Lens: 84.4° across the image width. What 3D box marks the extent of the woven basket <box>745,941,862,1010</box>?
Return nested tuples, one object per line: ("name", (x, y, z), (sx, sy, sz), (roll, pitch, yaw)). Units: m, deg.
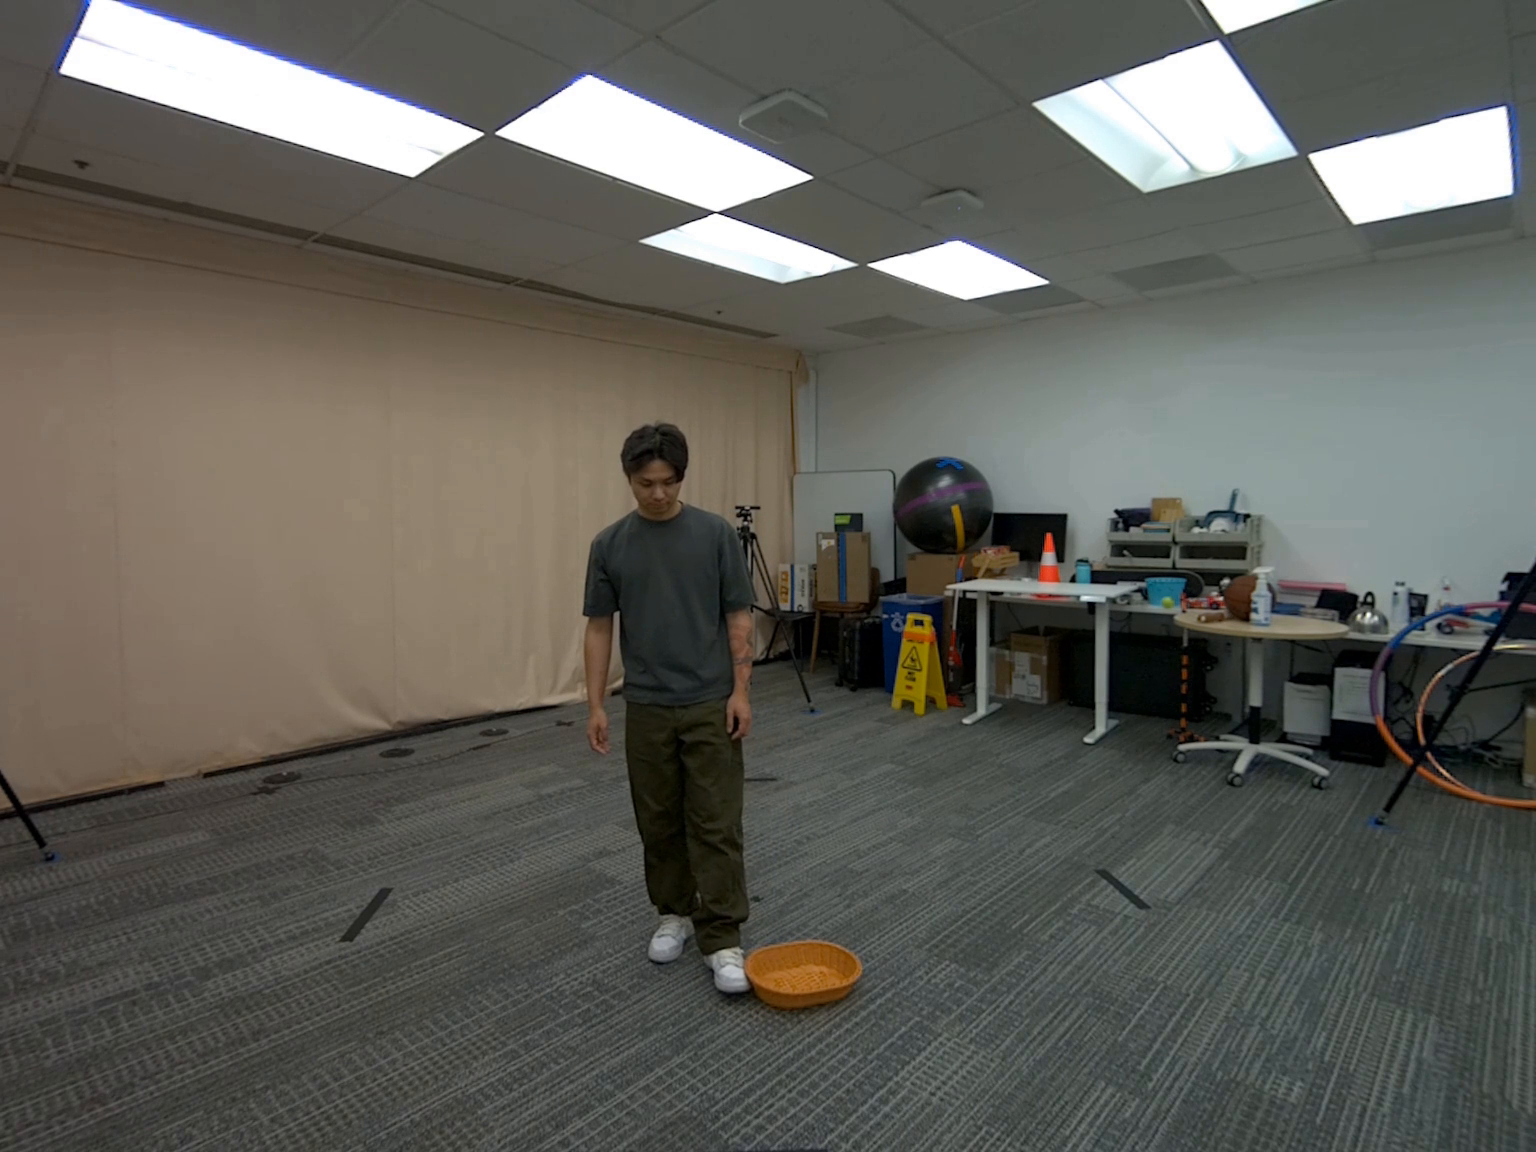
("woven basket", (0.106, 1.151, 2.413), (0.344, 0.073, 0.258), (1, 5, -19))
